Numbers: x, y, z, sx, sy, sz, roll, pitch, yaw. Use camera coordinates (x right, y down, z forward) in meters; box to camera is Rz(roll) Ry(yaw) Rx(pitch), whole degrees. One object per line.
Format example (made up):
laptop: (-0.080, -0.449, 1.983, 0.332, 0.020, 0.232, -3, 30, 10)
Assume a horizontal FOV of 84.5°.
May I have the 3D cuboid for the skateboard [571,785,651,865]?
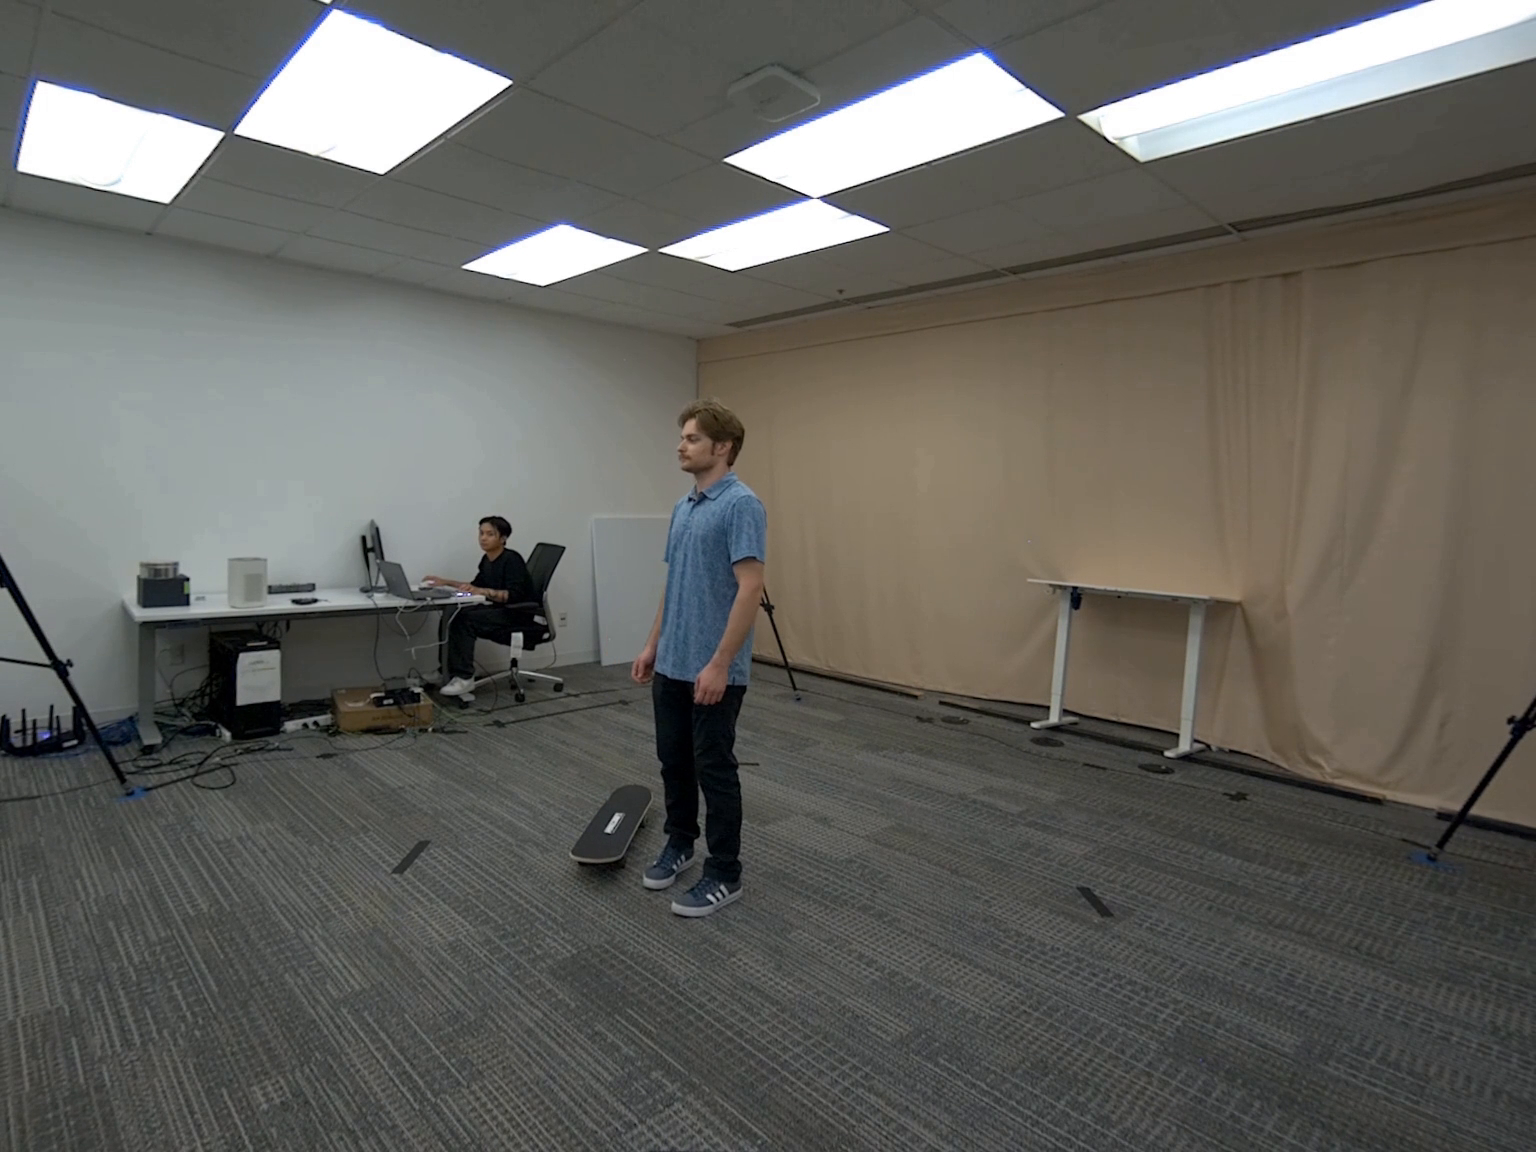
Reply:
skateboard: (-0.621, 1.014, 3.358, 0.194, 0.110, 0.784, 2, 5, 4)
